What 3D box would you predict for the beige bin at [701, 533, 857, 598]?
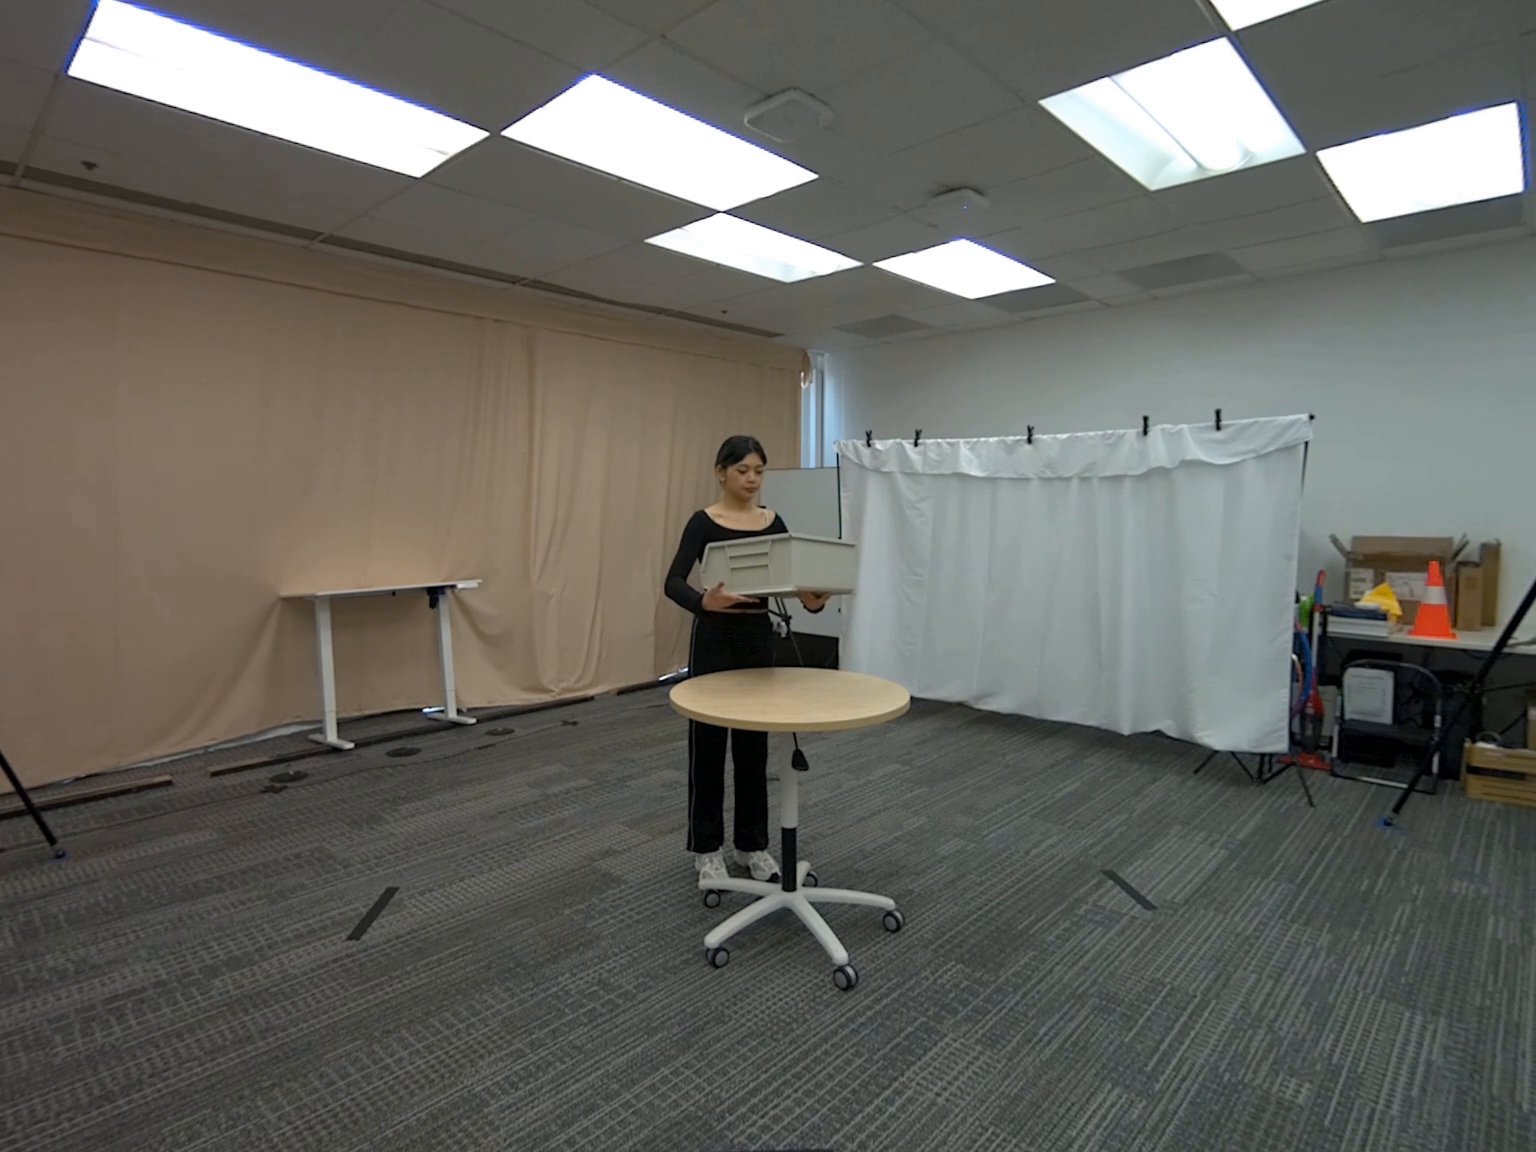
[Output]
[{"bbox_3d":[0.049,-0.019,2.871,0.389,0.189,0.408,-4,-6,37],"label":"beige bin"}]
